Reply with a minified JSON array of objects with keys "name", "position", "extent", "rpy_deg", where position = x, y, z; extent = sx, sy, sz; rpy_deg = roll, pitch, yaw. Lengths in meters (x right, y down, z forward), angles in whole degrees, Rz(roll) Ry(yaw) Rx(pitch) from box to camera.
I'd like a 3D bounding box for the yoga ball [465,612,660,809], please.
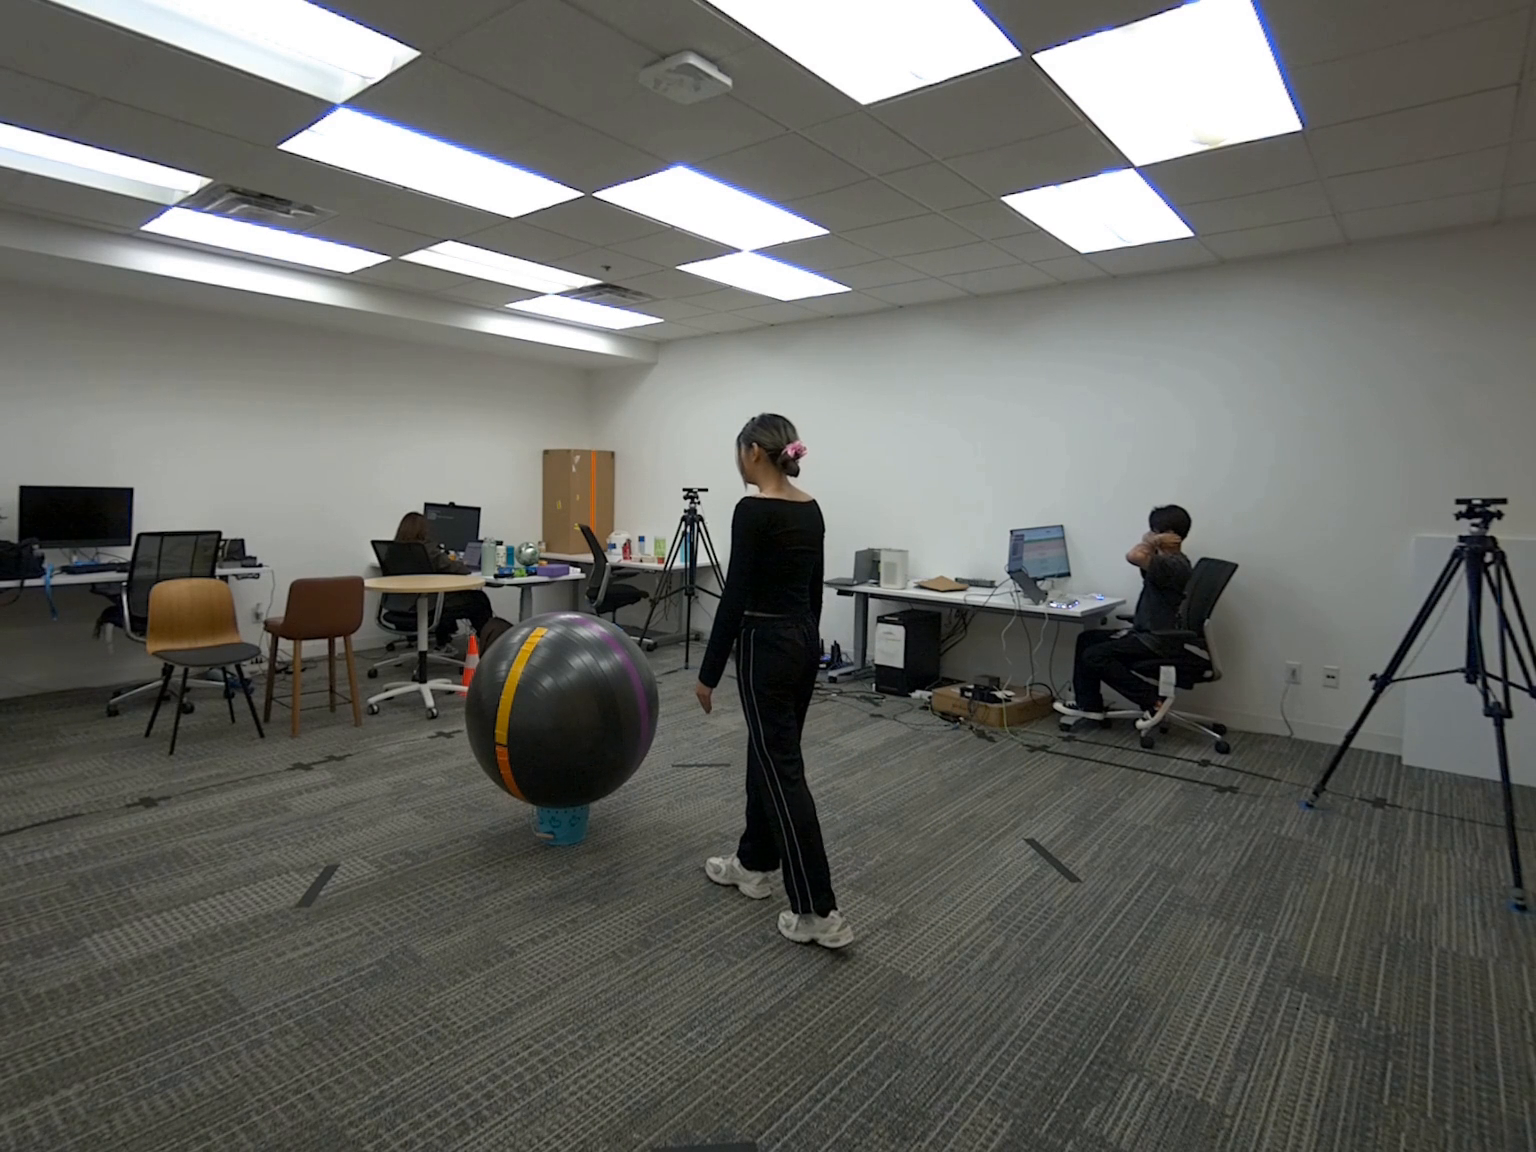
[{"name":"yoga ball","position":[-0.821,0.521,3.361],"extent":[0.757,0.755,0.762],"rpy_deg":[1,4,-2]}]
